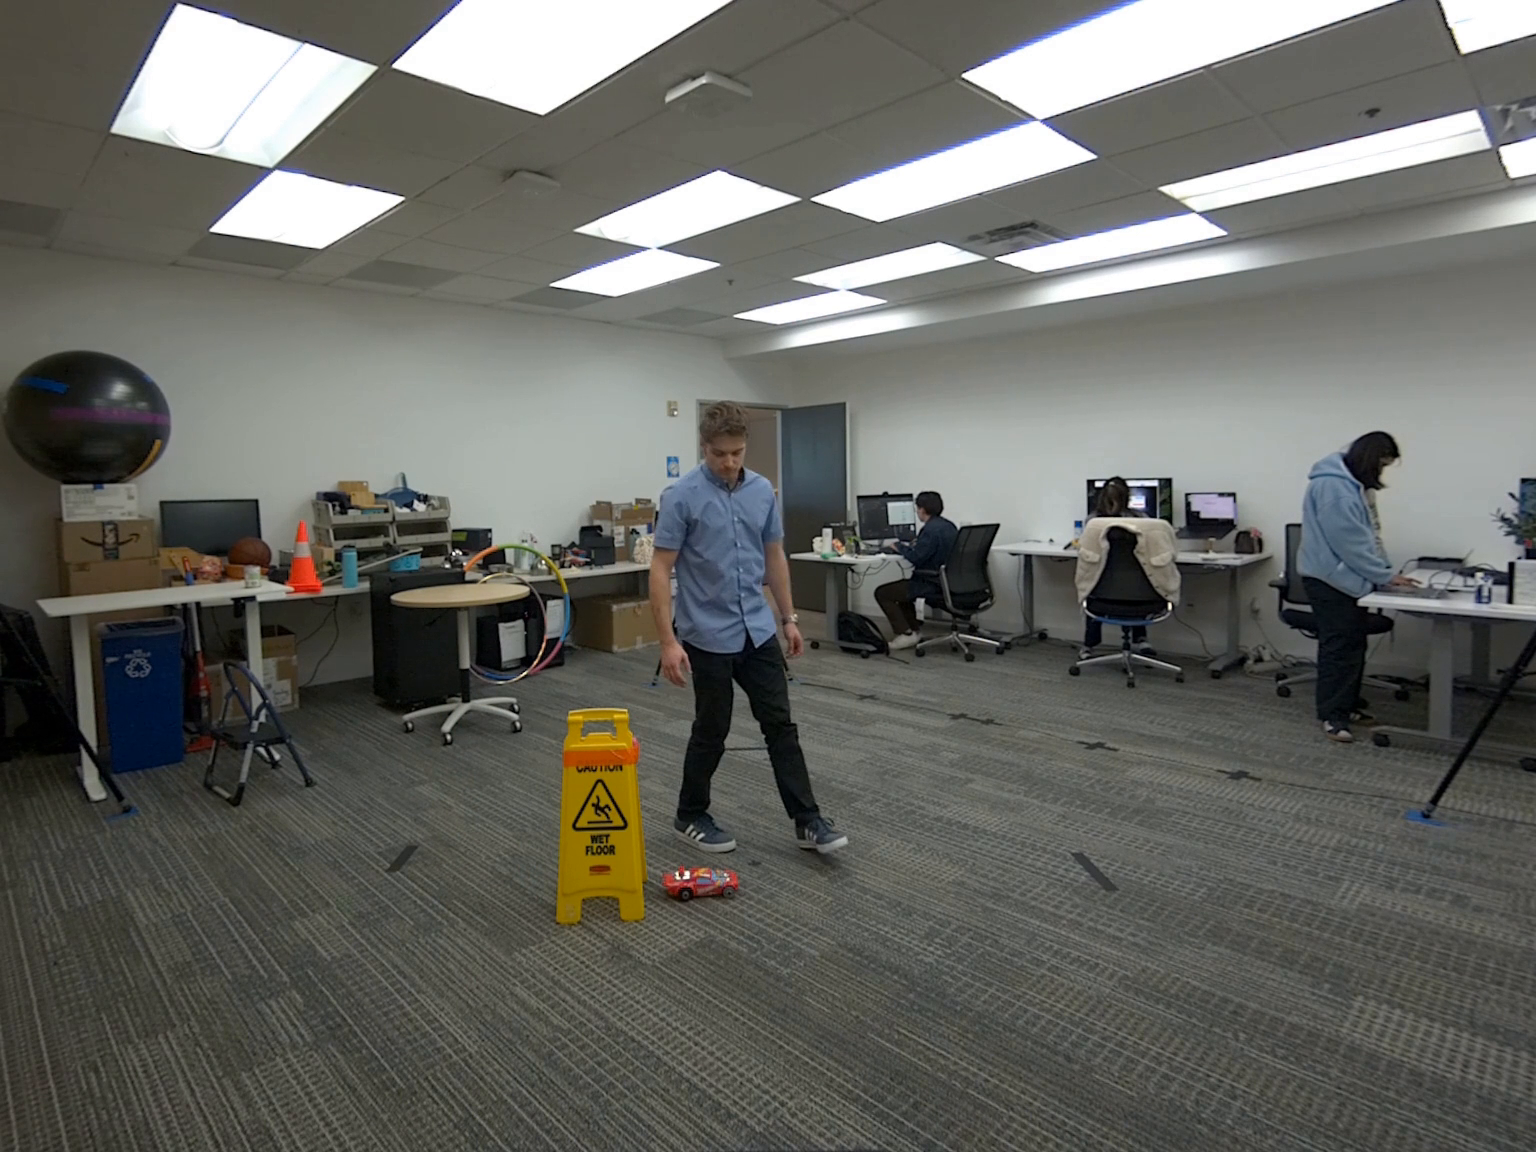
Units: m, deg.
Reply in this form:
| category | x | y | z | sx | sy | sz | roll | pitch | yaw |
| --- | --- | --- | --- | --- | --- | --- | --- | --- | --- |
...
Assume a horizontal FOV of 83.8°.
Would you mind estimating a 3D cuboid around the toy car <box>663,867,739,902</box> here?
| category | x | y | z | sx | sy | sz | roll | pitch | yaw |
| --- | --- | --- | --- | --- | --- | --- | --- | --- | --- |
| toy car | -0.230 | 1.042 | 2.883 | 0.252 | 0.083 | 0.132 | 7 | 5 | -7 |
